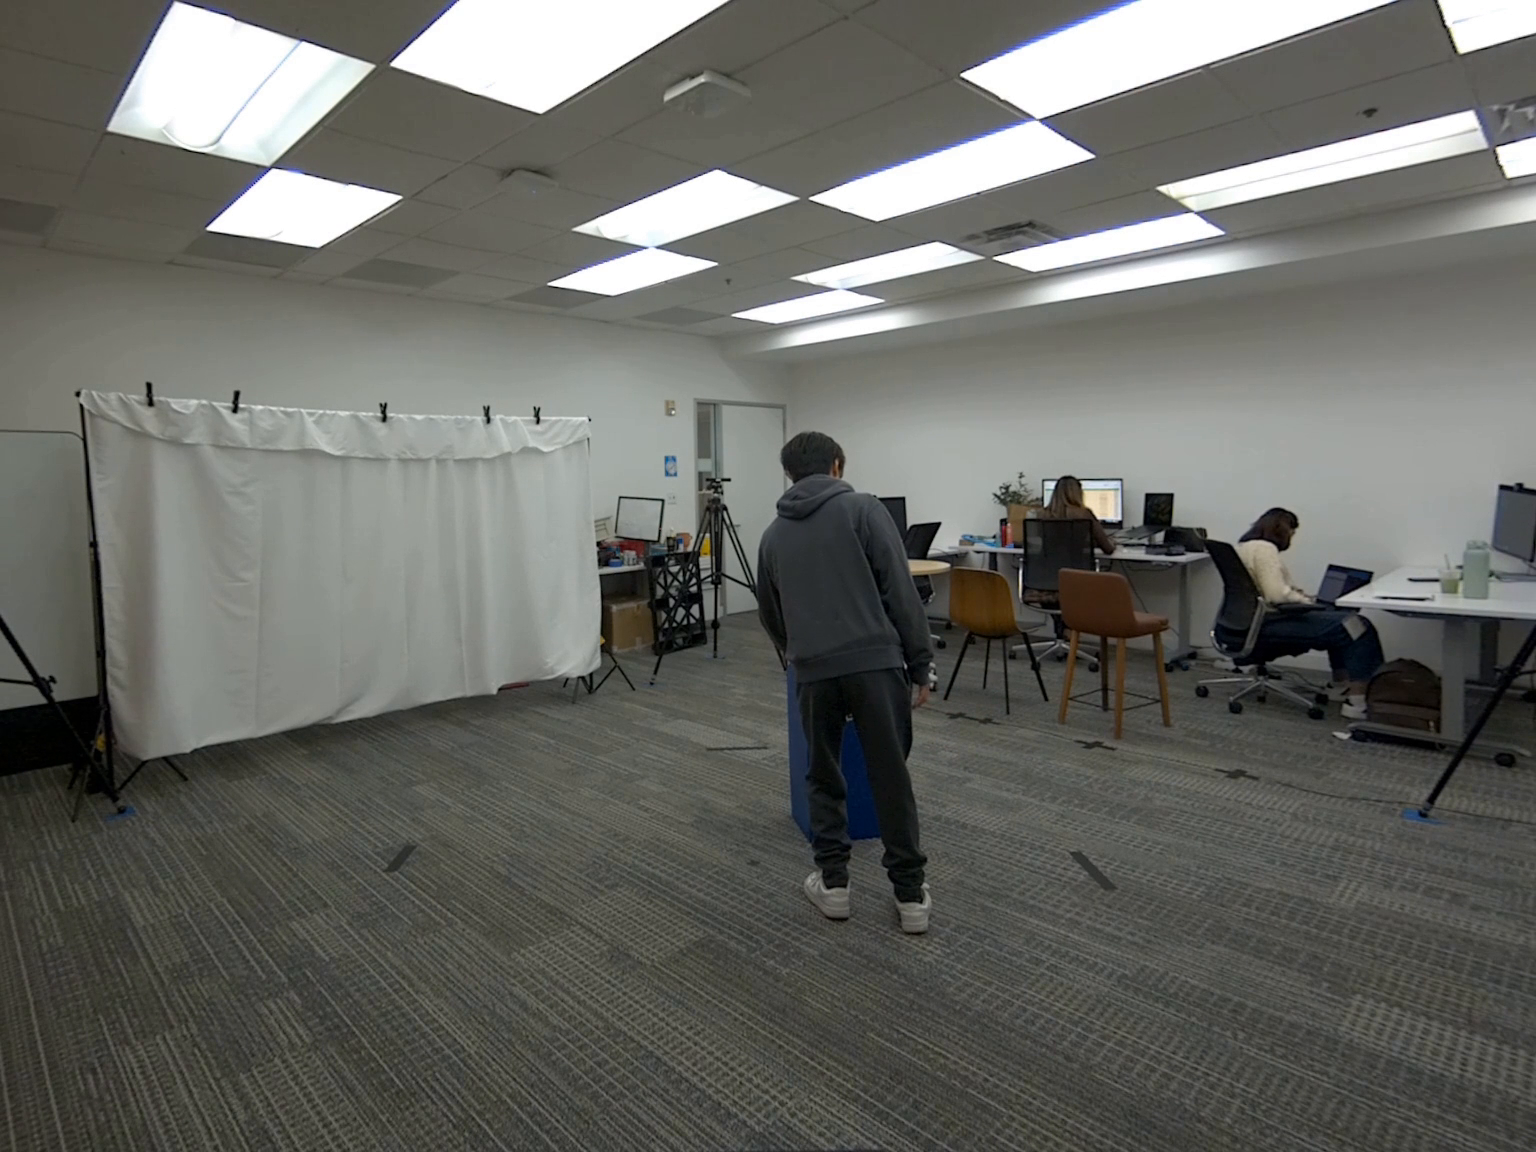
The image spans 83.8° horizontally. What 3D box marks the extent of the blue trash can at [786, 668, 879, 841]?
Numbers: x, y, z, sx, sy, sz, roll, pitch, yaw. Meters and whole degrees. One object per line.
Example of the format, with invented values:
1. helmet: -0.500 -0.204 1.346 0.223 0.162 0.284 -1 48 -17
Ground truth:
1. blue trash can: 0.282 0.650 3.414 0.370 0.711 0.383 -1 4 -10
